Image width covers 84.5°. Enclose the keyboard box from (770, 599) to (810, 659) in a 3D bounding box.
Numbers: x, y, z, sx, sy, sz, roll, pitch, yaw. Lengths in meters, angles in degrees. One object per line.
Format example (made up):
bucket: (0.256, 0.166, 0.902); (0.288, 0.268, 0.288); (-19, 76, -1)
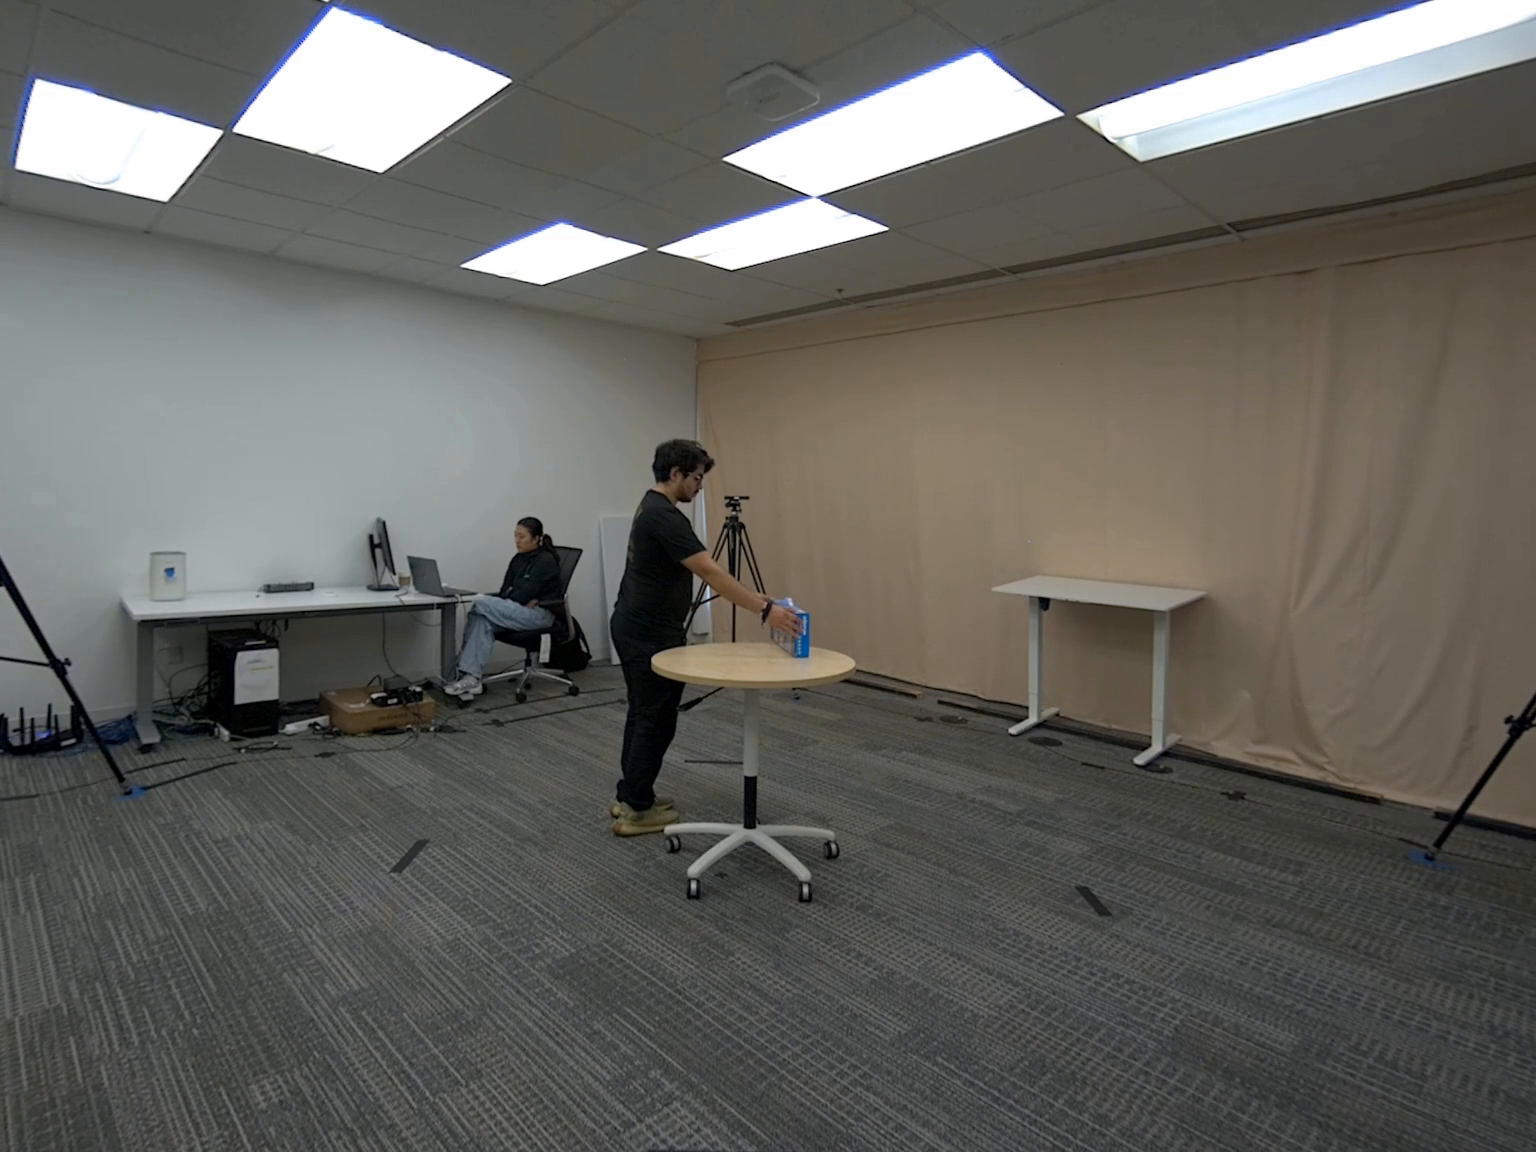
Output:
keyboard box: (0.077, 0.209, 3.434); (0.058, 0.175, 0.442); (0, 5, -11)
